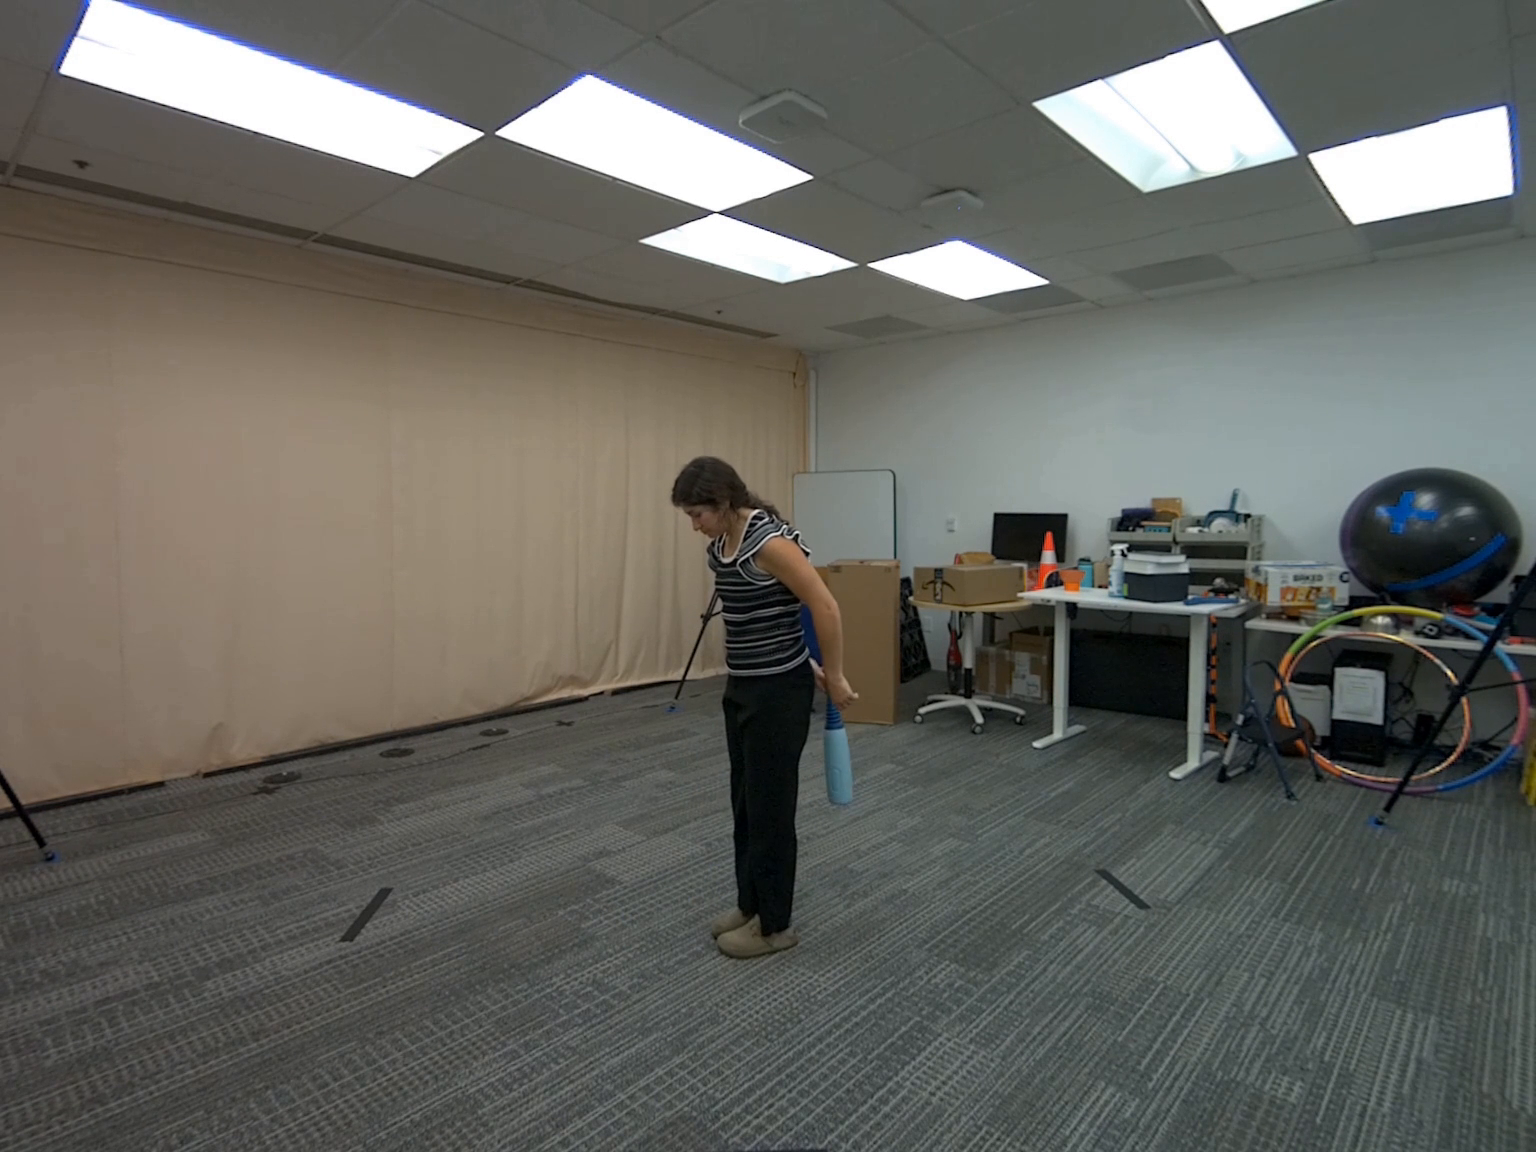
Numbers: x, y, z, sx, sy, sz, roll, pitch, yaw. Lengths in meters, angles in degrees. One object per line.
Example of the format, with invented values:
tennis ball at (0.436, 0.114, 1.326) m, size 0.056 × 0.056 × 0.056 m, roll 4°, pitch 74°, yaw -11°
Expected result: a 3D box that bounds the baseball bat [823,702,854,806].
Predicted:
baseball bat at (0.227, 0.494, 2.824) m, size 0.089 × 0.543 × 0.089 m, roll -4°, pitch -2°, yaw -2°
